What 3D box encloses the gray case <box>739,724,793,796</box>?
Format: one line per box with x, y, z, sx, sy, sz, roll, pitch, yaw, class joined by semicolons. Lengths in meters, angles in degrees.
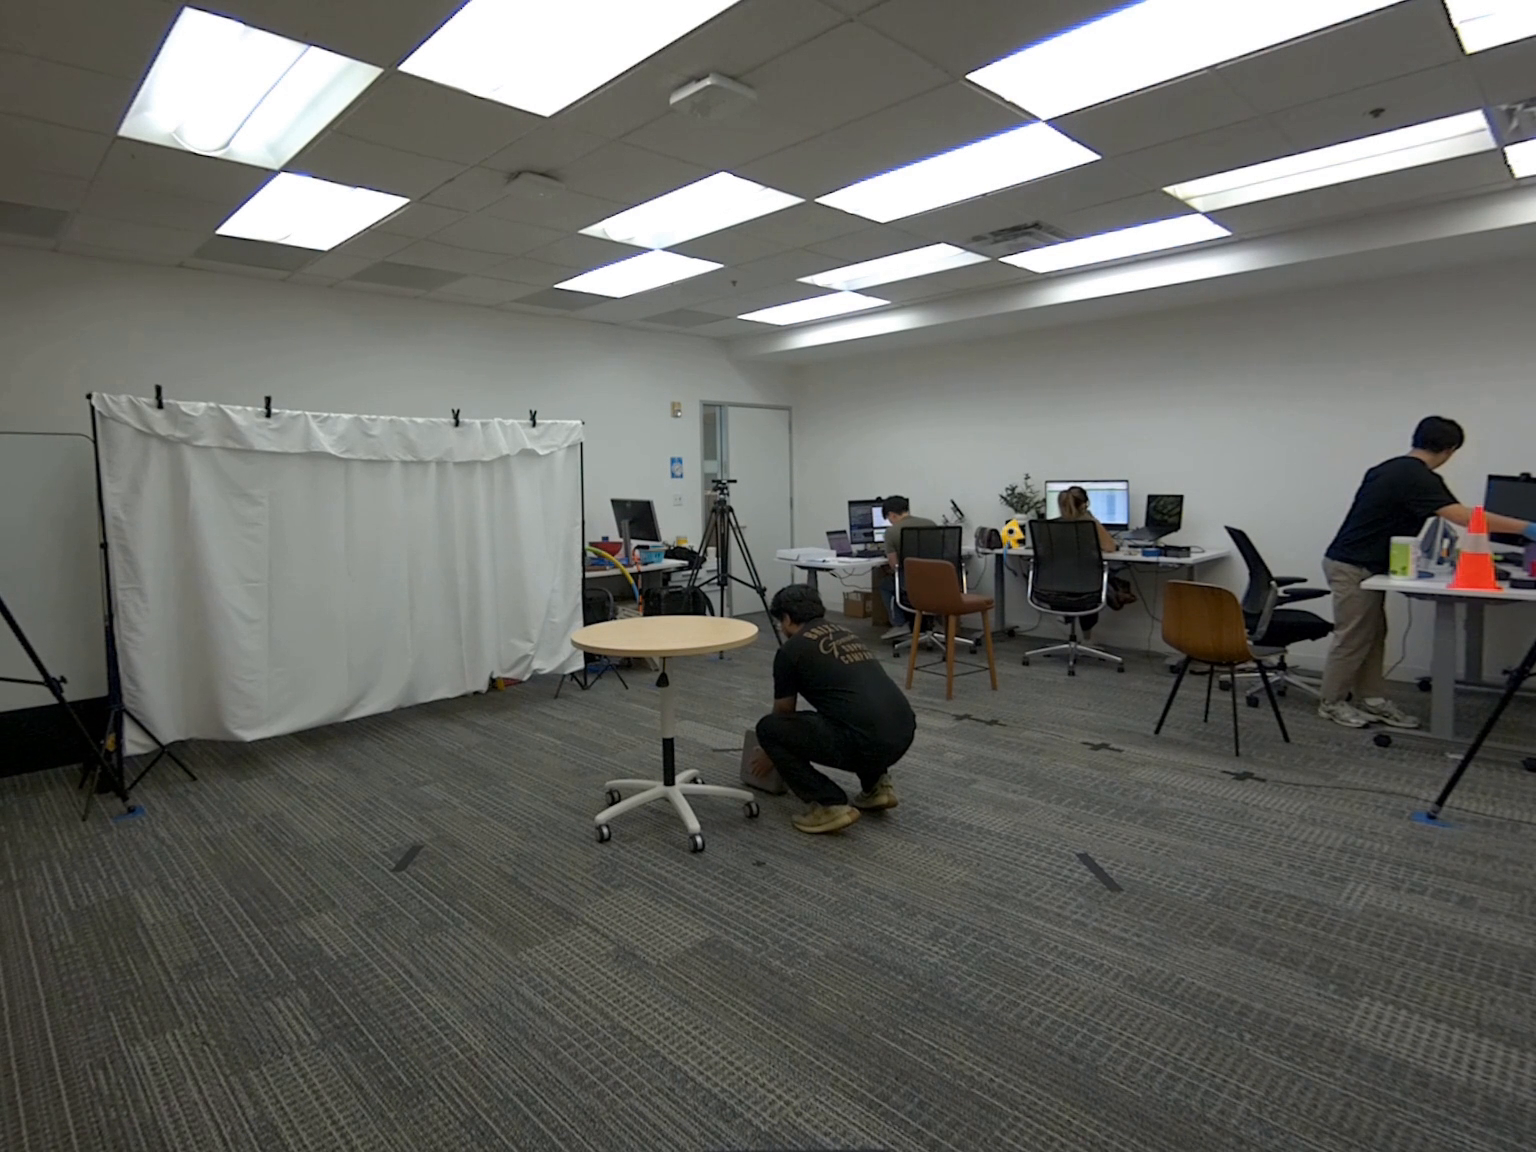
0.007;0.829;3.897;0.101;0.261;0.265;9;-4;-42;gray case
